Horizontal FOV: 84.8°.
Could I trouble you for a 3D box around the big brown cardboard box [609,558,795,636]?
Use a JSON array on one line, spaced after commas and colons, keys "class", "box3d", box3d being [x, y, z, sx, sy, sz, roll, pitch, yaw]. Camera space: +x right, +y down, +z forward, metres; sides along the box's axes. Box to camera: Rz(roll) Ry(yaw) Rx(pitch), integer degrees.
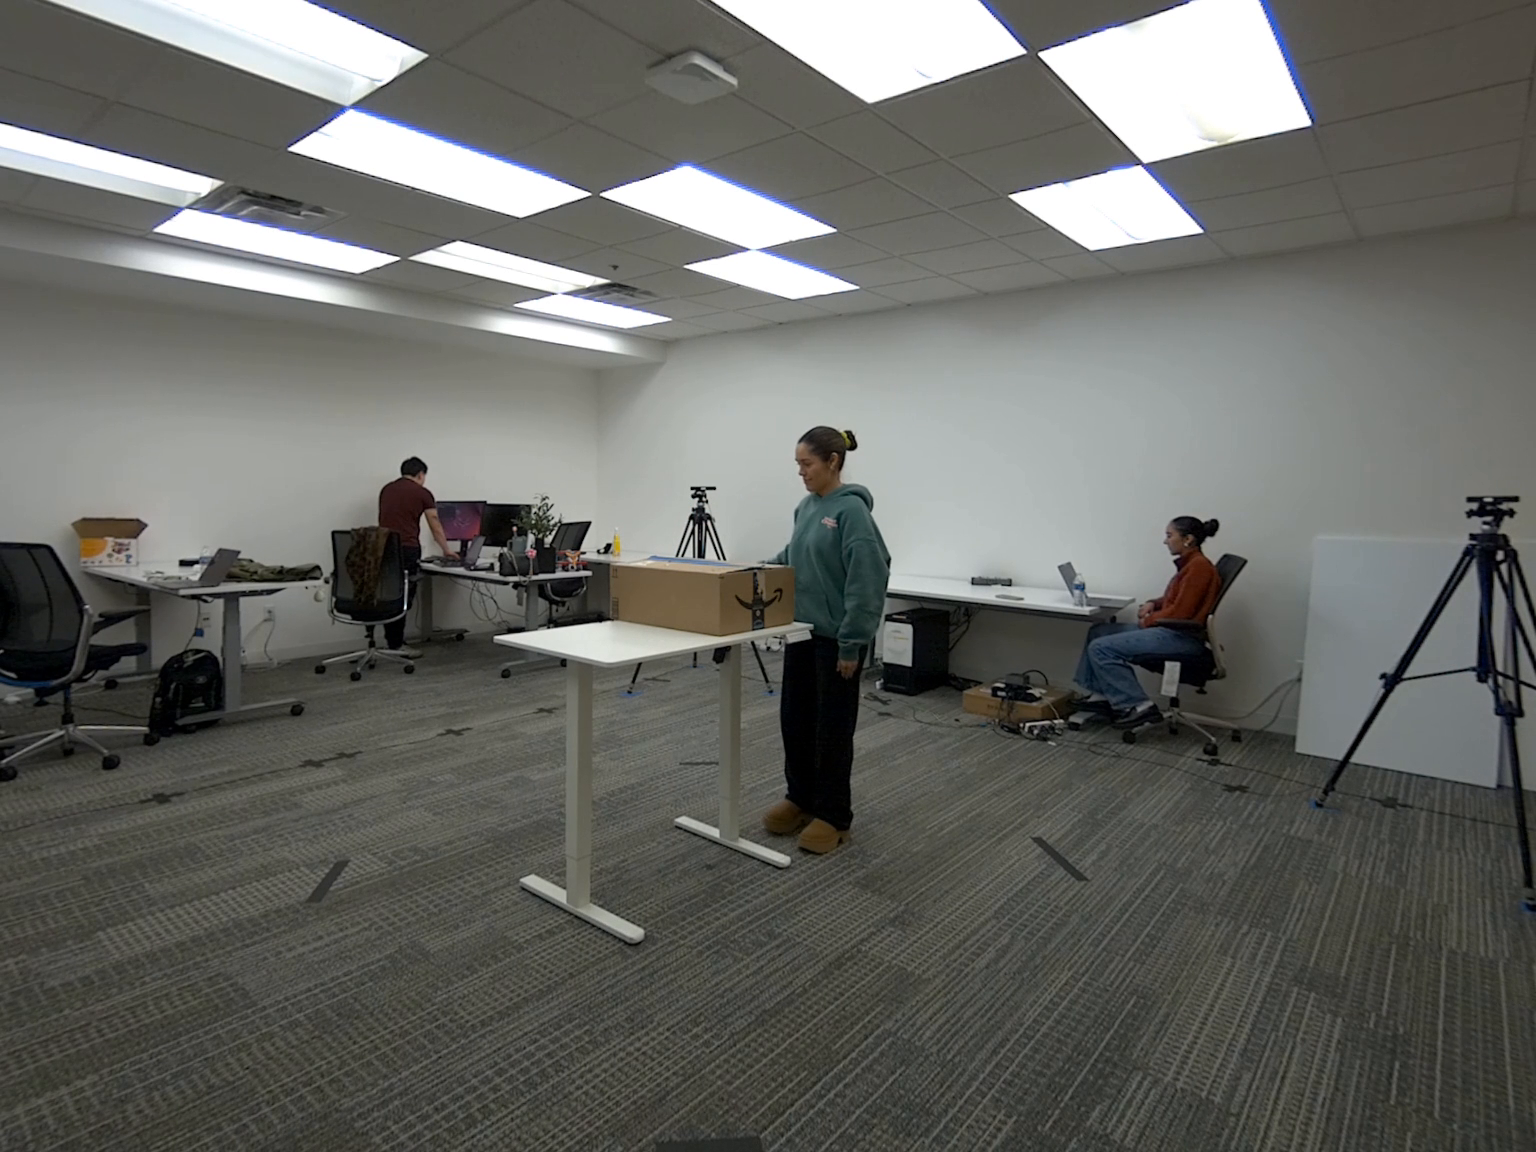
[{"class": "big brown cardboard box", "box3d": [-0.265, 0.062, 3.226, 0.609, 0.232, 0.405, 6, 8, 40]}]
